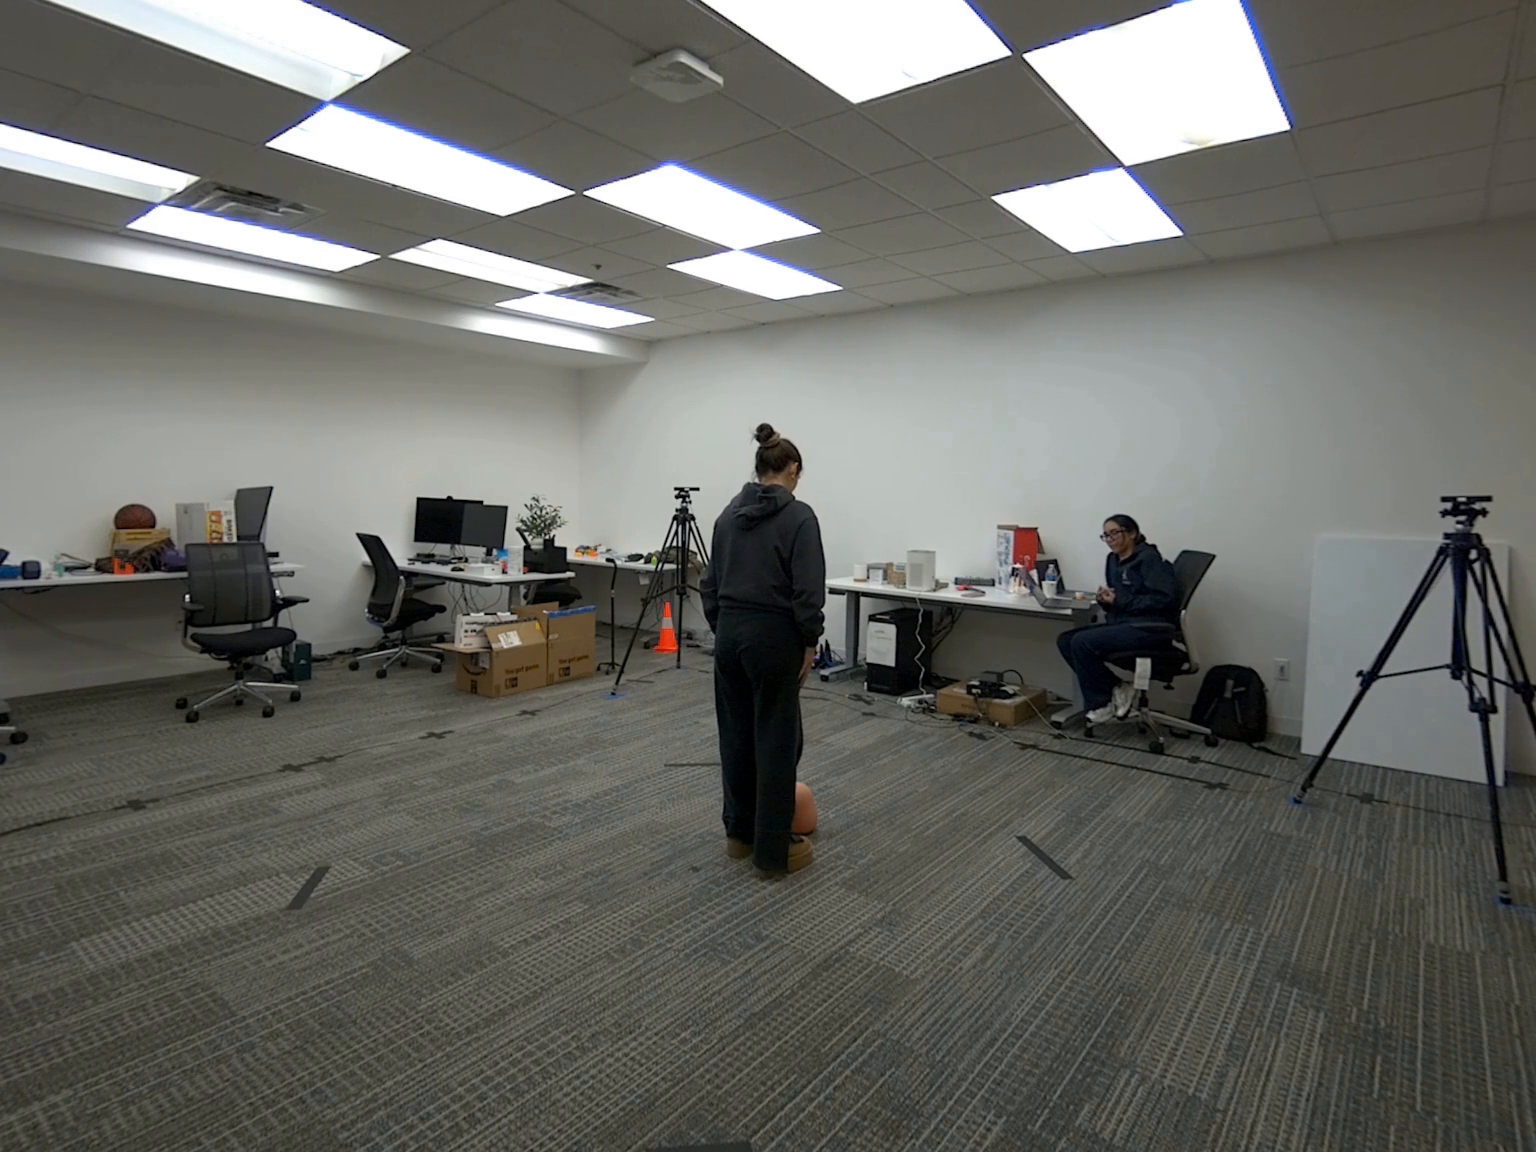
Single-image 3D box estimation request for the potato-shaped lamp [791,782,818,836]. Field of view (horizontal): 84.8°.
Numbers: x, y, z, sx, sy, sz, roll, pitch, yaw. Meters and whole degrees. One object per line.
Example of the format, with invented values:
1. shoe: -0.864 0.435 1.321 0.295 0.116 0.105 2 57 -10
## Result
1. potato-shaped lamp: 0.120 0.935 3.474 0.169 0.197 0.167 0 4 28
